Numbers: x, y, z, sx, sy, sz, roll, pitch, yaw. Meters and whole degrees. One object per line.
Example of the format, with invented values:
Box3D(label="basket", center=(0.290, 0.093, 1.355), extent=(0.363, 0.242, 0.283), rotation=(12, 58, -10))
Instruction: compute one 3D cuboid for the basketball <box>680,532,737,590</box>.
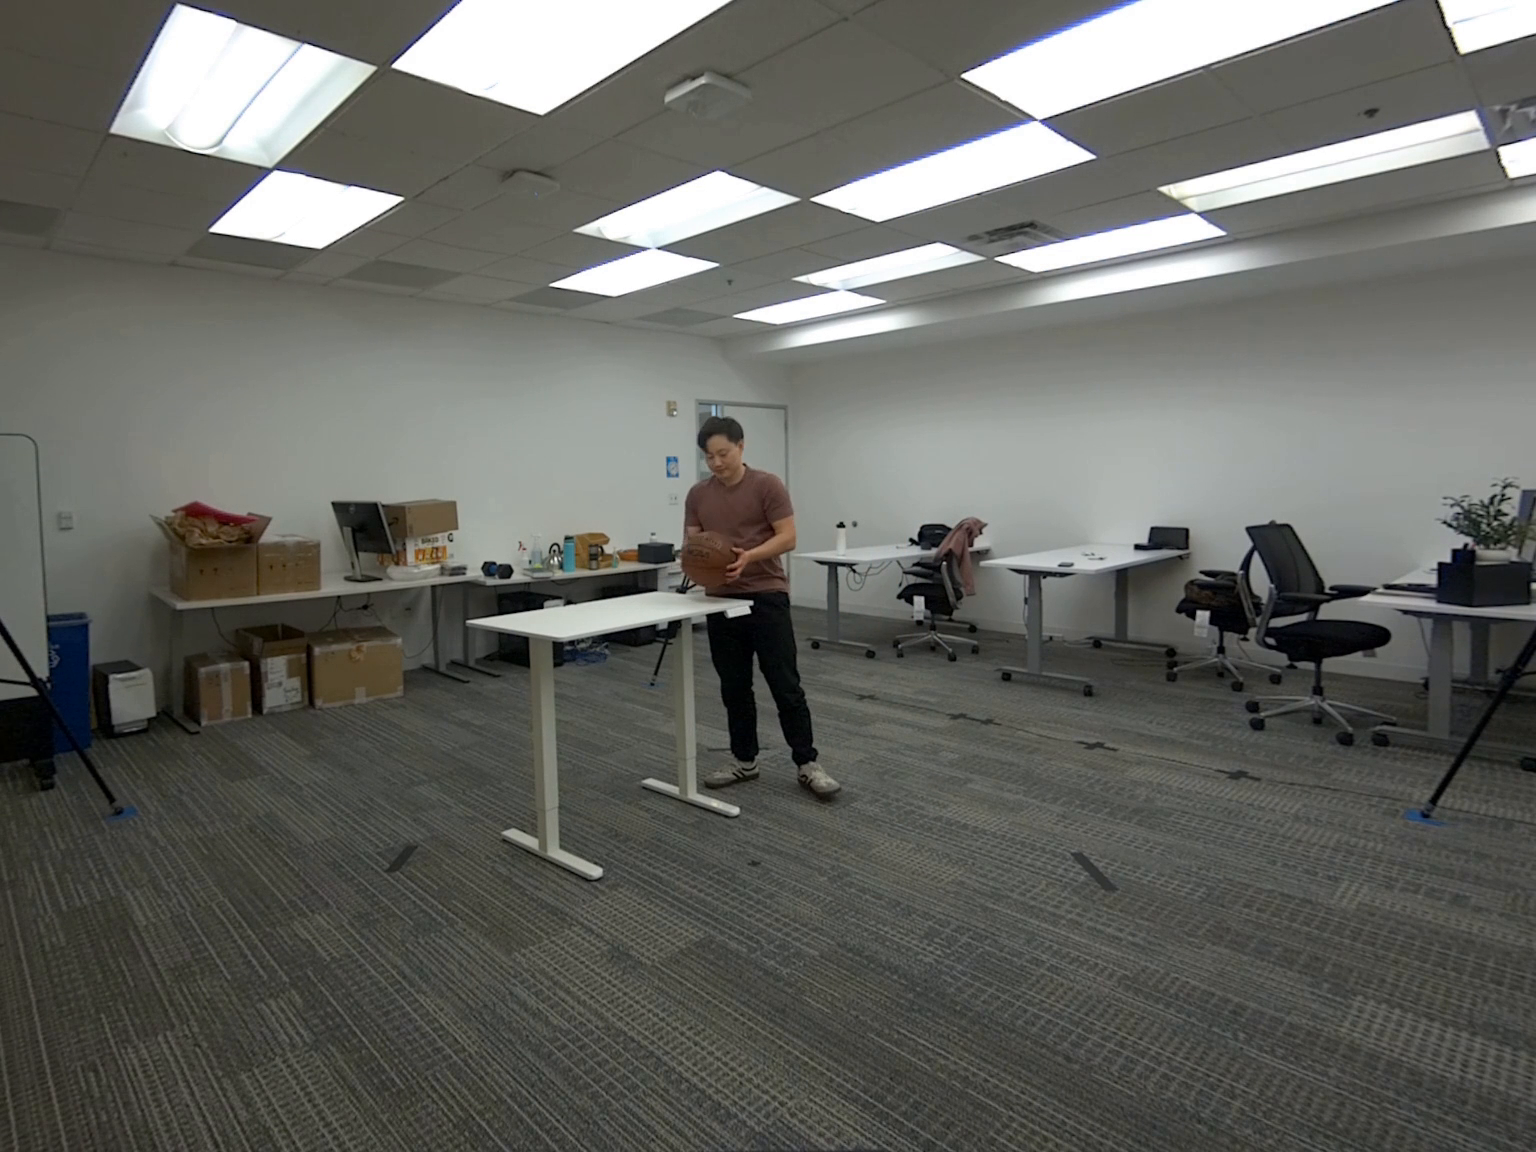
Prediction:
Box3D(label="basketball", center=(-0.256, -0.064, 3.601), extent=(0.236, 0.235, 0.237), rotation=(-1, 5, -2))
